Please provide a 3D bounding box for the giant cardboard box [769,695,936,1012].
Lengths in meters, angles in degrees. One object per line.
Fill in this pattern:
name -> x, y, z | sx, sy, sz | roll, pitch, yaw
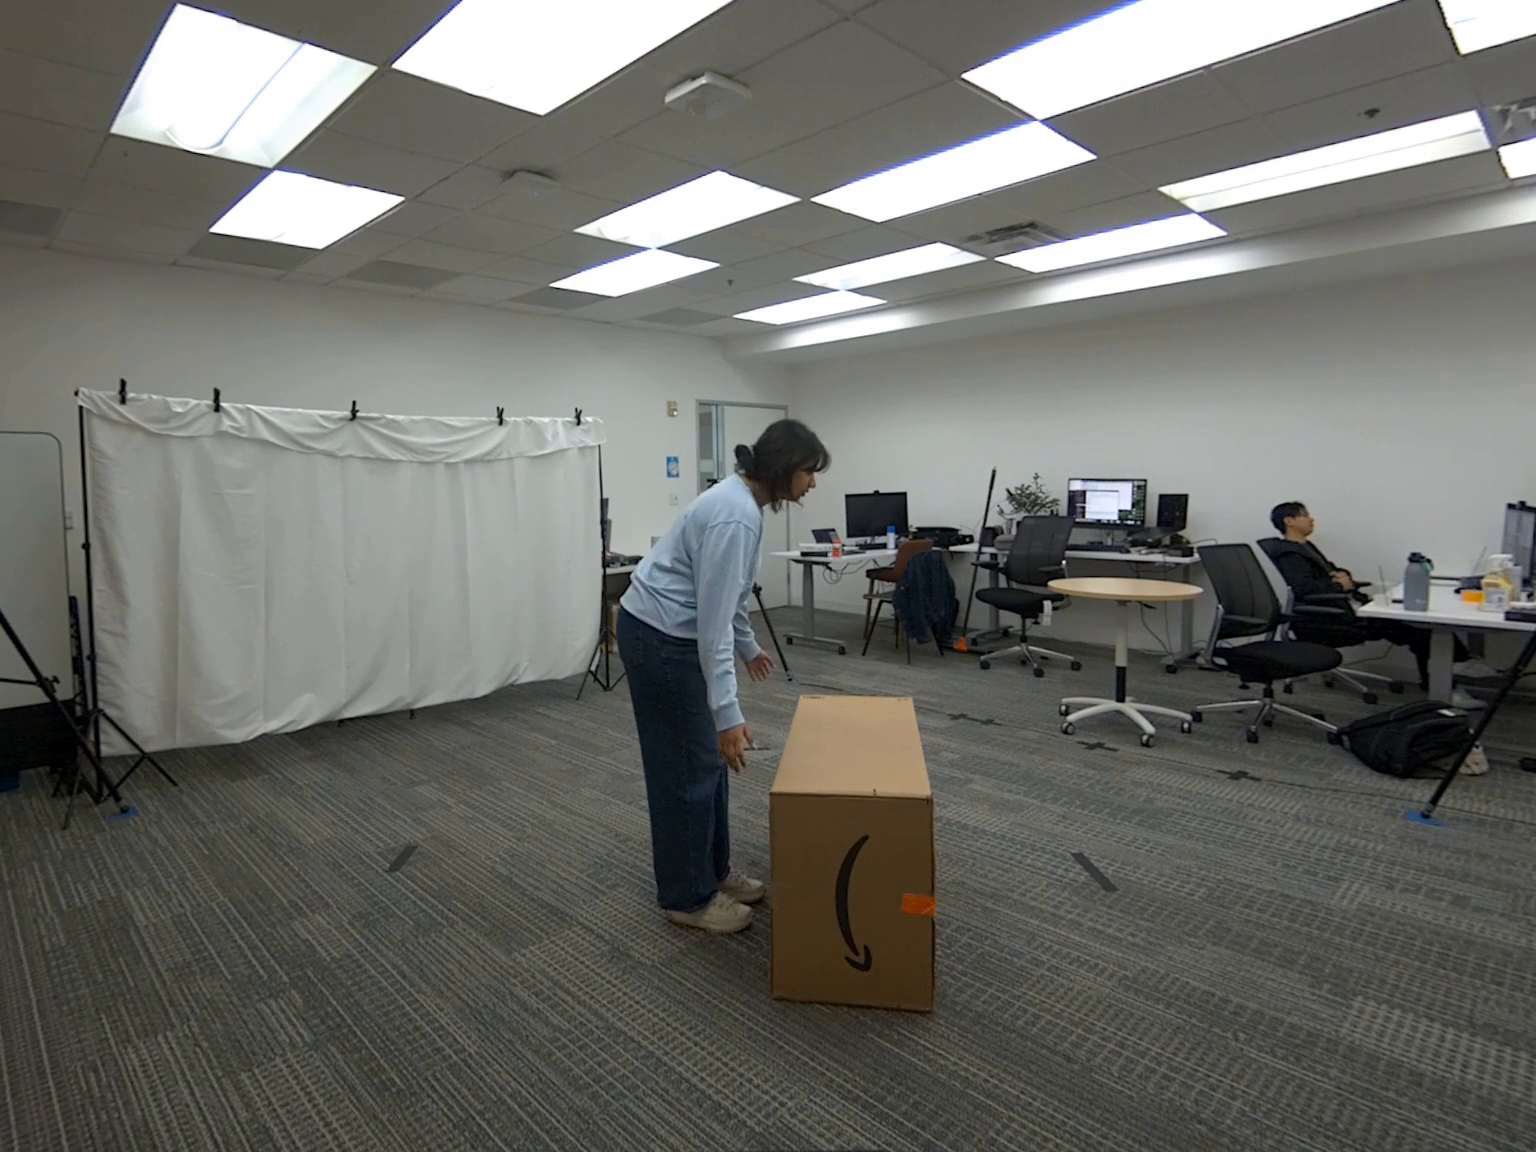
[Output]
giant cardboard box -> 0.282, 0.791, 2.735 | 0.430, 0.575, 1.022 | 0, 6, 7
